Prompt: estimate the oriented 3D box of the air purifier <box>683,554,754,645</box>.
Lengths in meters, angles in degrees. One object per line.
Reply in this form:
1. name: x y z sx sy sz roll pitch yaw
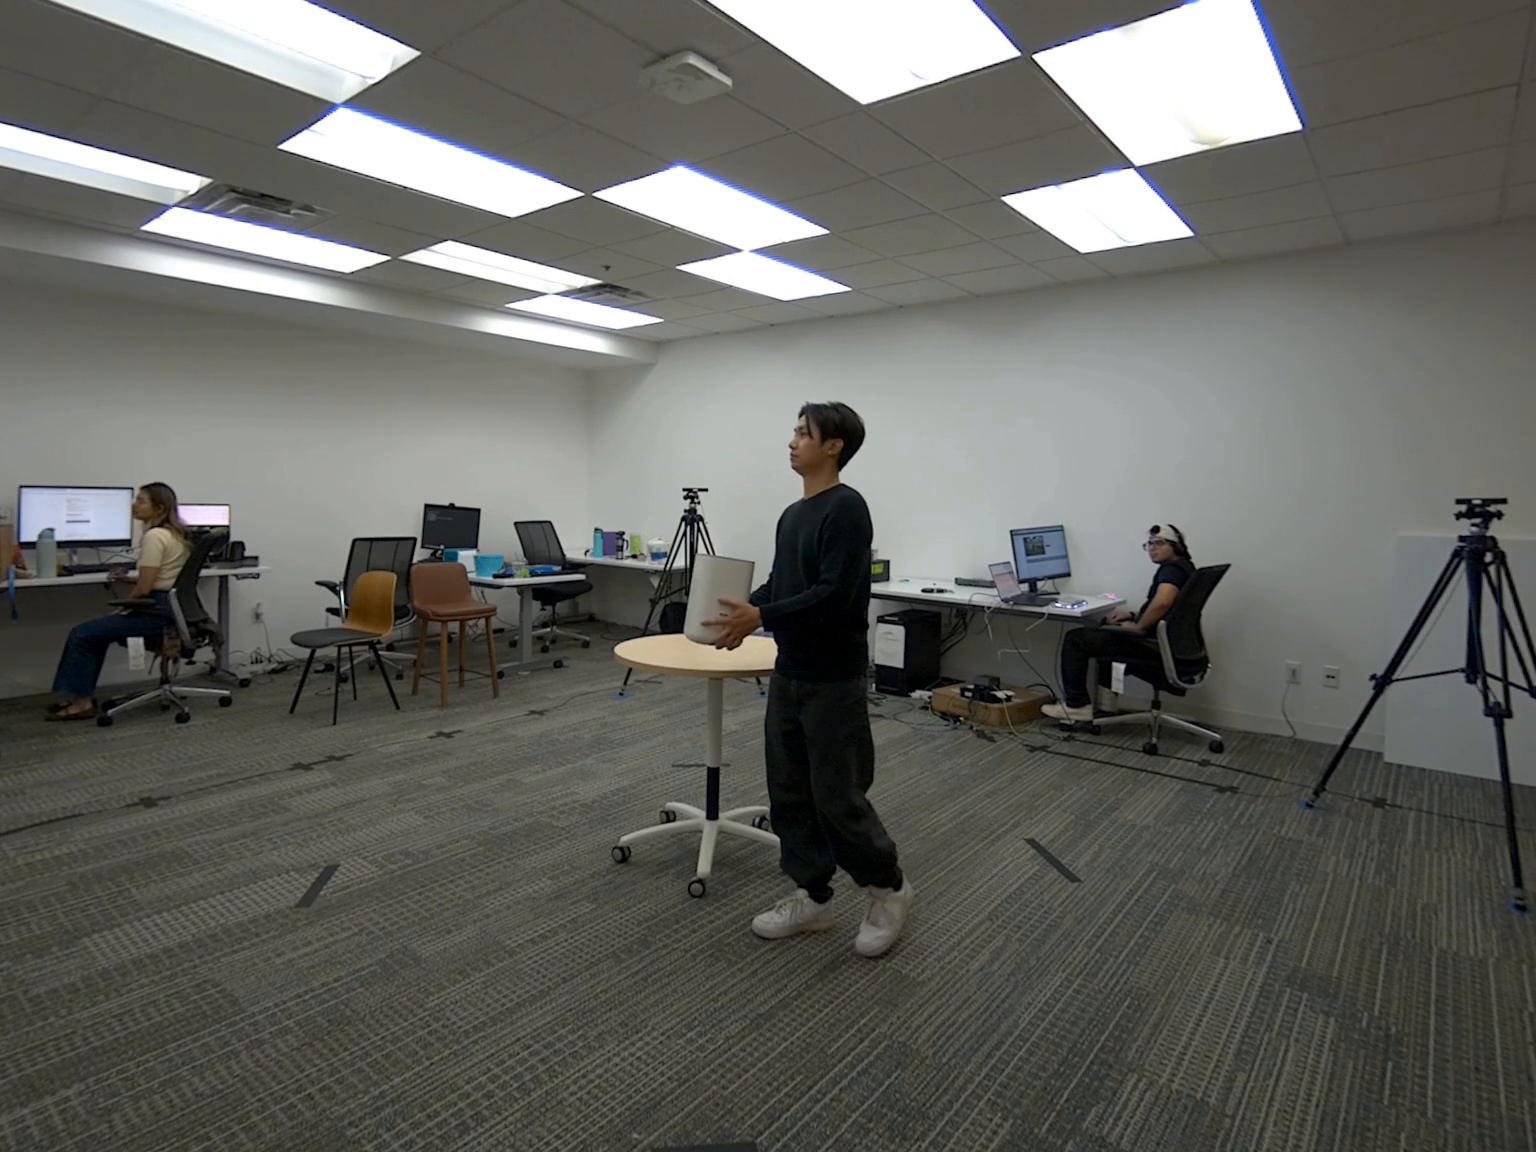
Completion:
1. air purifier: -0.153 0.073 2.585 0.168 0.266 0.174 9 -3 -14
